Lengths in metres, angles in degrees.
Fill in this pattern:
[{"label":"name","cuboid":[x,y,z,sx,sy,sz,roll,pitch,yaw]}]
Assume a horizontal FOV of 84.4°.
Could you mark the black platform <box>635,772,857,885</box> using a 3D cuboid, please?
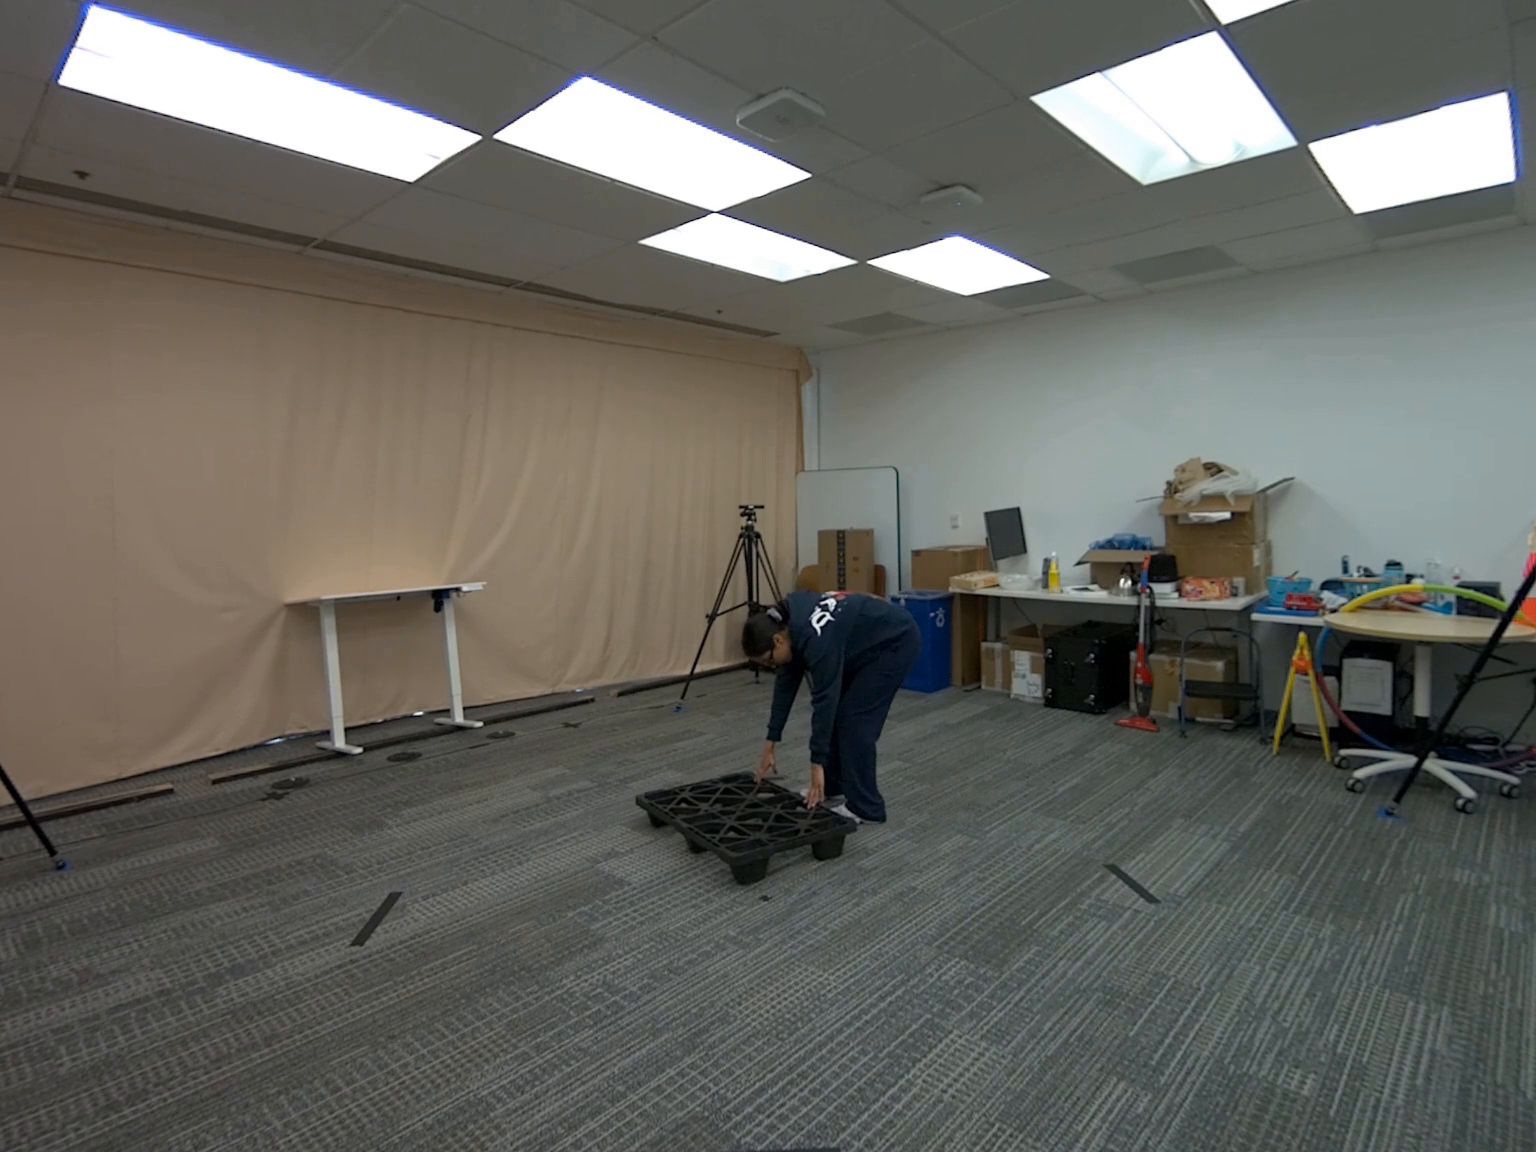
[{"label":"black platform","cuboid":[-0.109,1.030,3.511,0.588,0.143,0.830,-4,6,-33]}]
